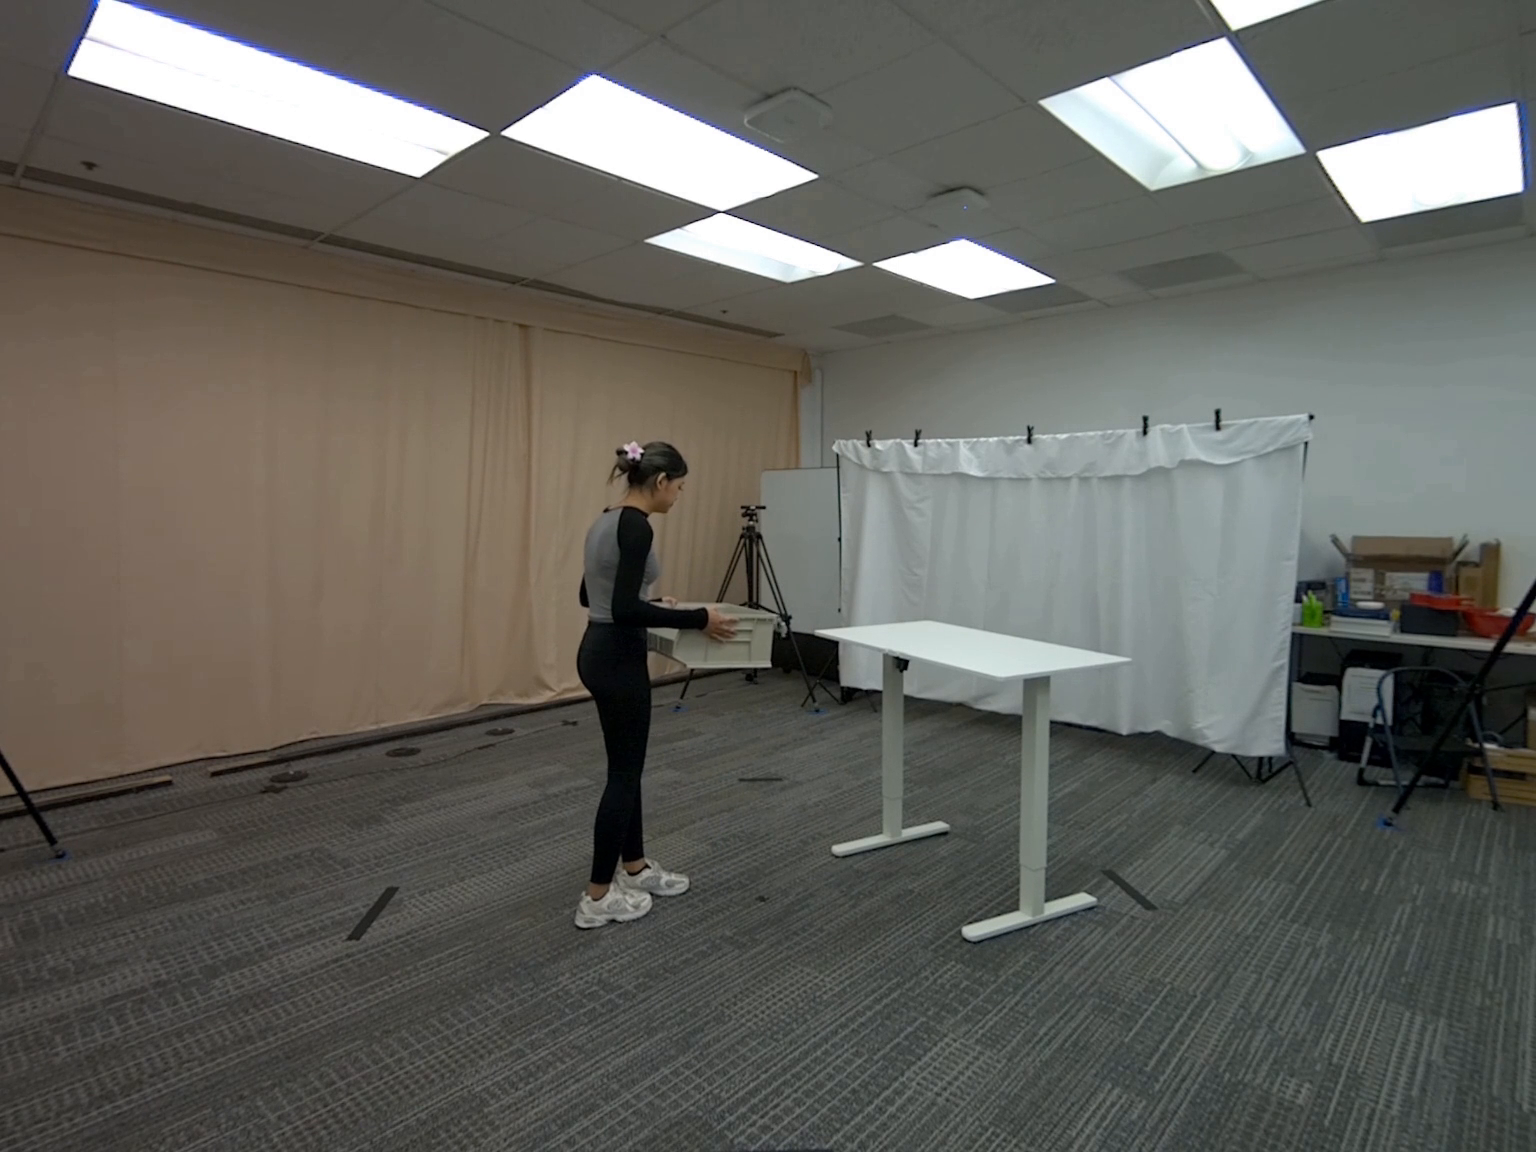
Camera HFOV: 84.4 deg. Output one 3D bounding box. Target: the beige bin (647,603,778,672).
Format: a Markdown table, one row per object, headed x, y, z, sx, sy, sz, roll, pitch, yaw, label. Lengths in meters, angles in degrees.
| x | y | z | sx | sy | sz | roll | pitch | yaw | label |
| --- | --- | --- | --- | --- | --- | --- | --- | --- | --- |
| -0.232 | 0.206 | 2.982 | 0.368 | 0.189 | 0.433 | 4 | 1 | -27 | beige bin |
